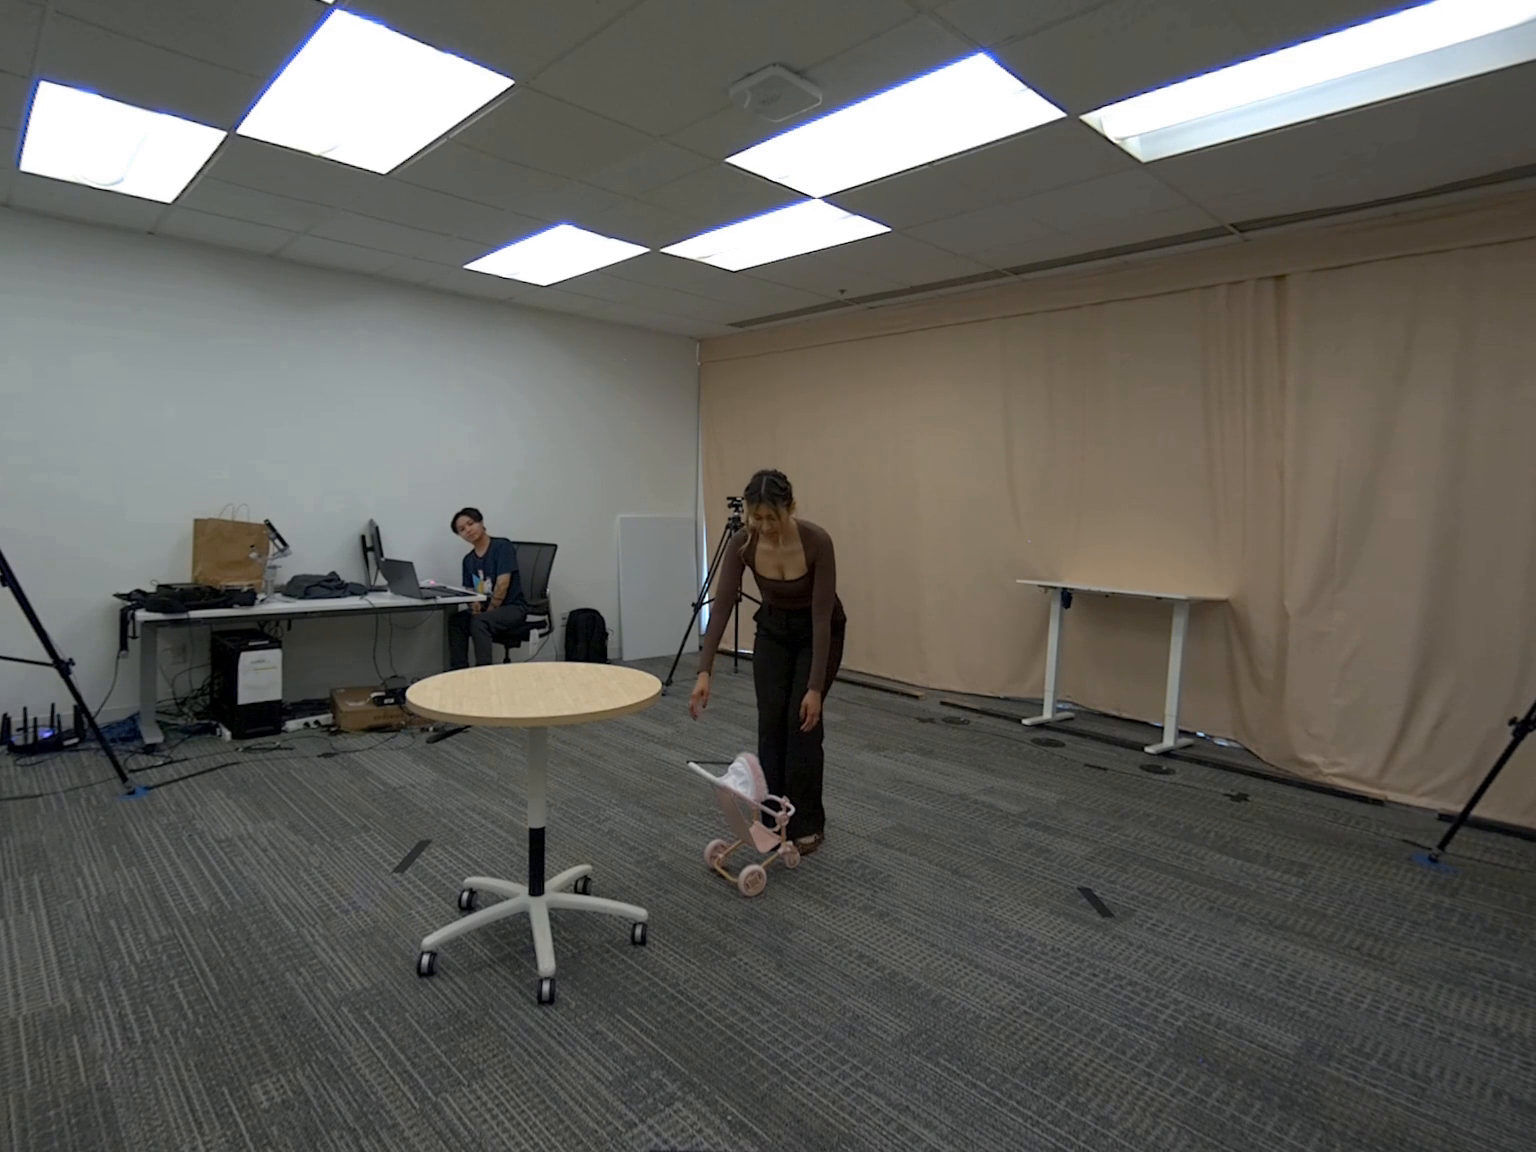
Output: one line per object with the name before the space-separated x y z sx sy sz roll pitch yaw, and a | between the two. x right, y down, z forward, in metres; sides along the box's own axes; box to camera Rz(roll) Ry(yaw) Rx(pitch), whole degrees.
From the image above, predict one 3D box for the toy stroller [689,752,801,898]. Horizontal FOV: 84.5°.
toy stroller | -0.071 0.883 3.074 0.337 0.530 0.287 -17 11 -25
